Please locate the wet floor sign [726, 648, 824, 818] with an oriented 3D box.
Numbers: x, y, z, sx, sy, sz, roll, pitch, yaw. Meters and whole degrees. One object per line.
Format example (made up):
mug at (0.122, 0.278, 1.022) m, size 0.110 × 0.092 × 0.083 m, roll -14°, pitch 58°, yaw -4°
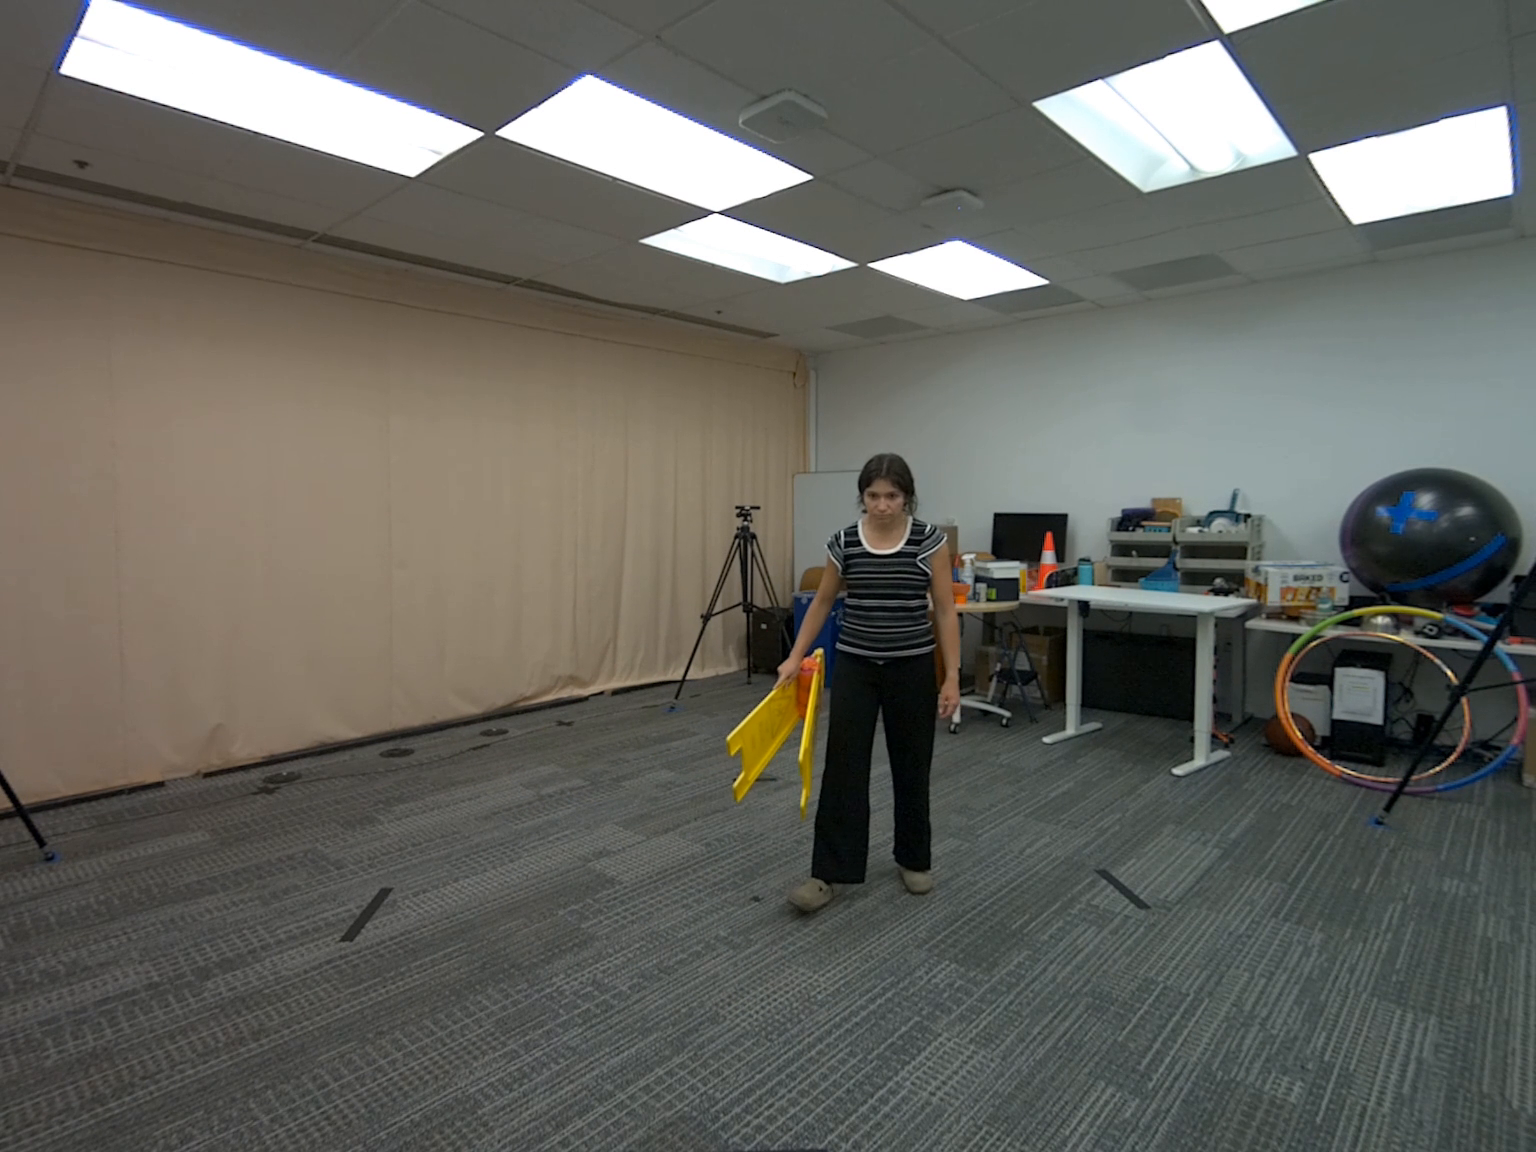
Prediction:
wet floor sign at (0.102, 0.521, 3.055) m, size 0.296 × 0.277 × 0.644 m, roll 8°, pitch 33°, yaw 18°
